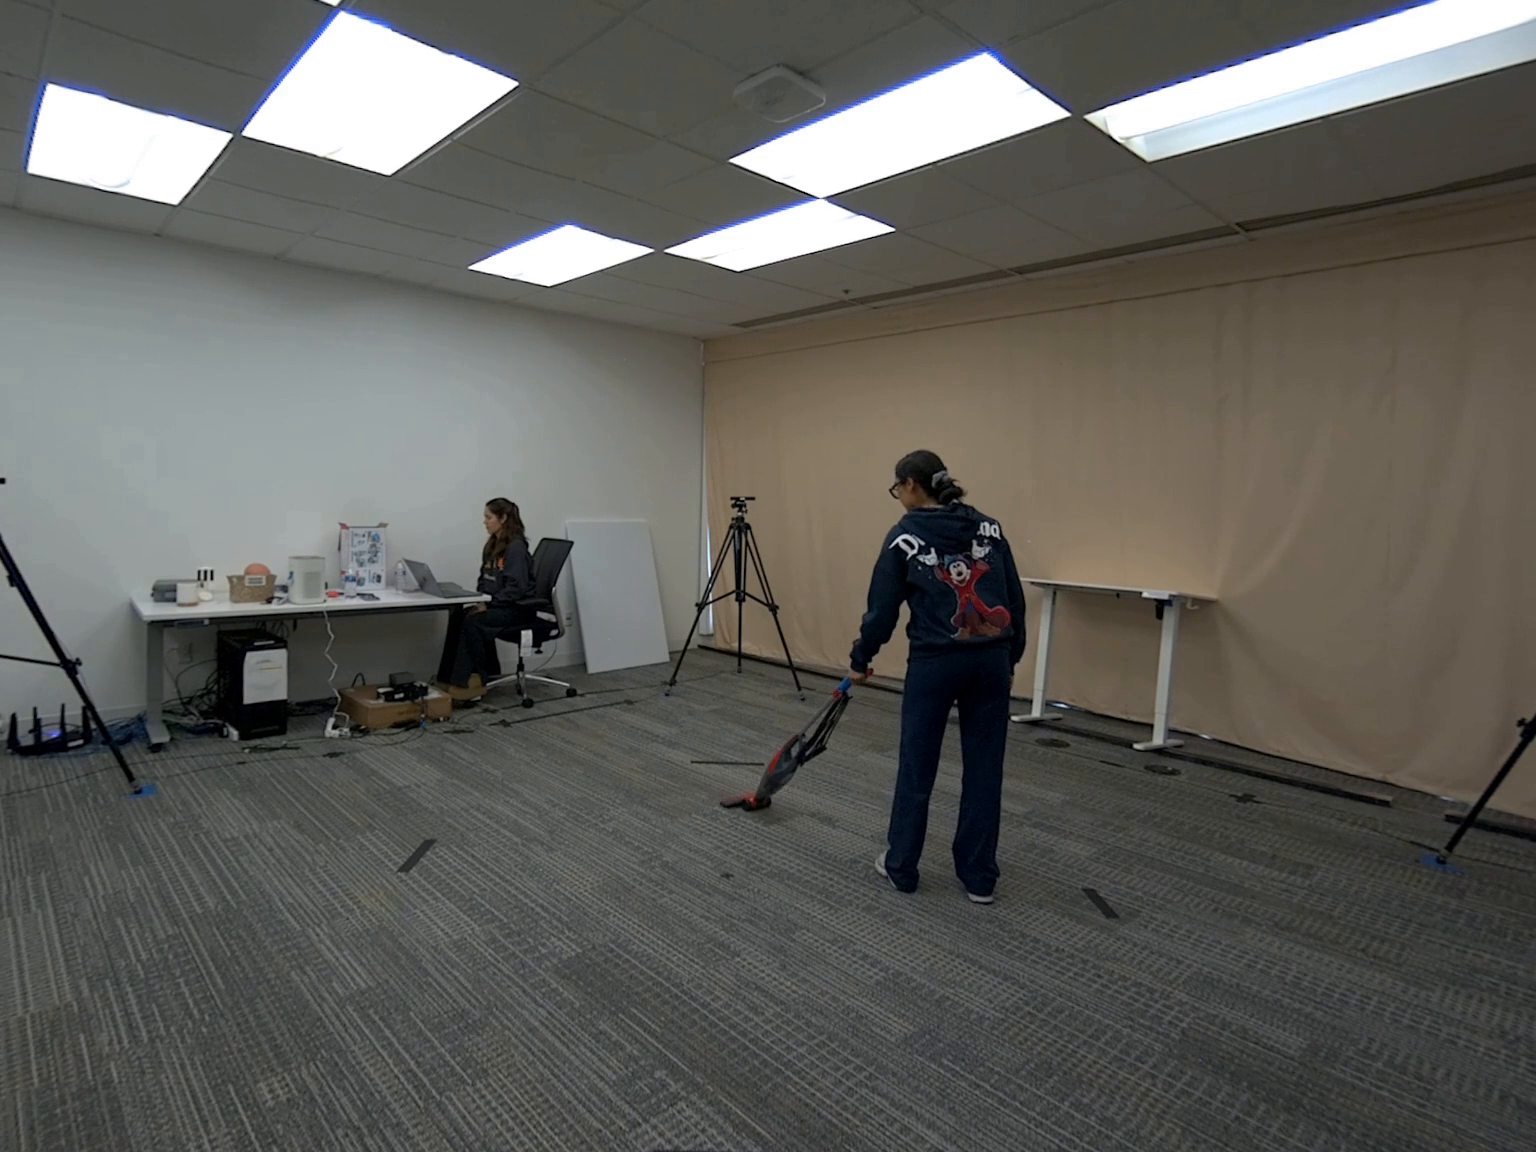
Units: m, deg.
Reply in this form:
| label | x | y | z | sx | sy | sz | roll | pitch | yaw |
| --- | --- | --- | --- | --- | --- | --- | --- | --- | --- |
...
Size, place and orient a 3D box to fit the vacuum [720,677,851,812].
| label | x | y | z | sx | sy | sz | roll | pitch | yaw |
| --- | --- | --- | --- | --- | --- | --- | --- | --- | --- |
| vacuum | 0.130 | 0.705 | 3.520 | 0.247 | 0.148 | 1.044 | -5 | -37 | -38 |
